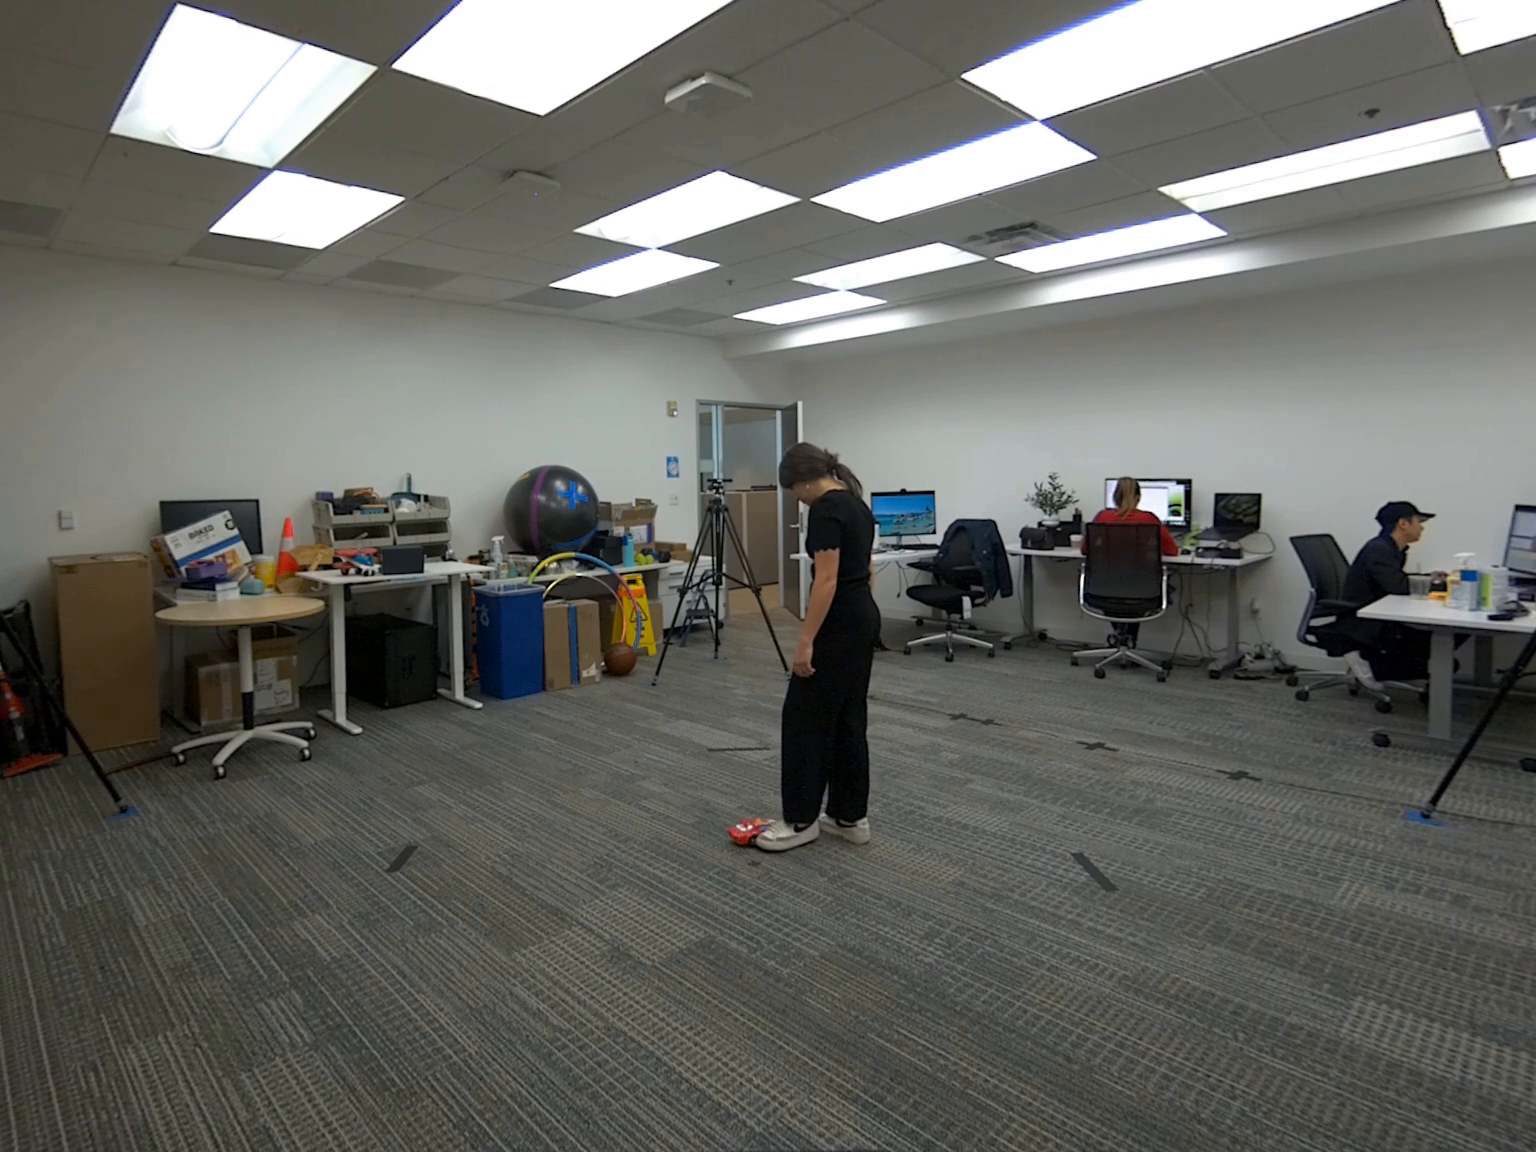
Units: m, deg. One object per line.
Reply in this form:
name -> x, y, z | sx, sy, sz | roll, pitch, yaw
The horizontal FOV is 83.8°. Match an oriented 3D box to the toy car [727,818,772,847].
toy car -> -0.042, 0.988, 3.320 | 0.247, 0.083, 0.134 | 9, -1, -32
